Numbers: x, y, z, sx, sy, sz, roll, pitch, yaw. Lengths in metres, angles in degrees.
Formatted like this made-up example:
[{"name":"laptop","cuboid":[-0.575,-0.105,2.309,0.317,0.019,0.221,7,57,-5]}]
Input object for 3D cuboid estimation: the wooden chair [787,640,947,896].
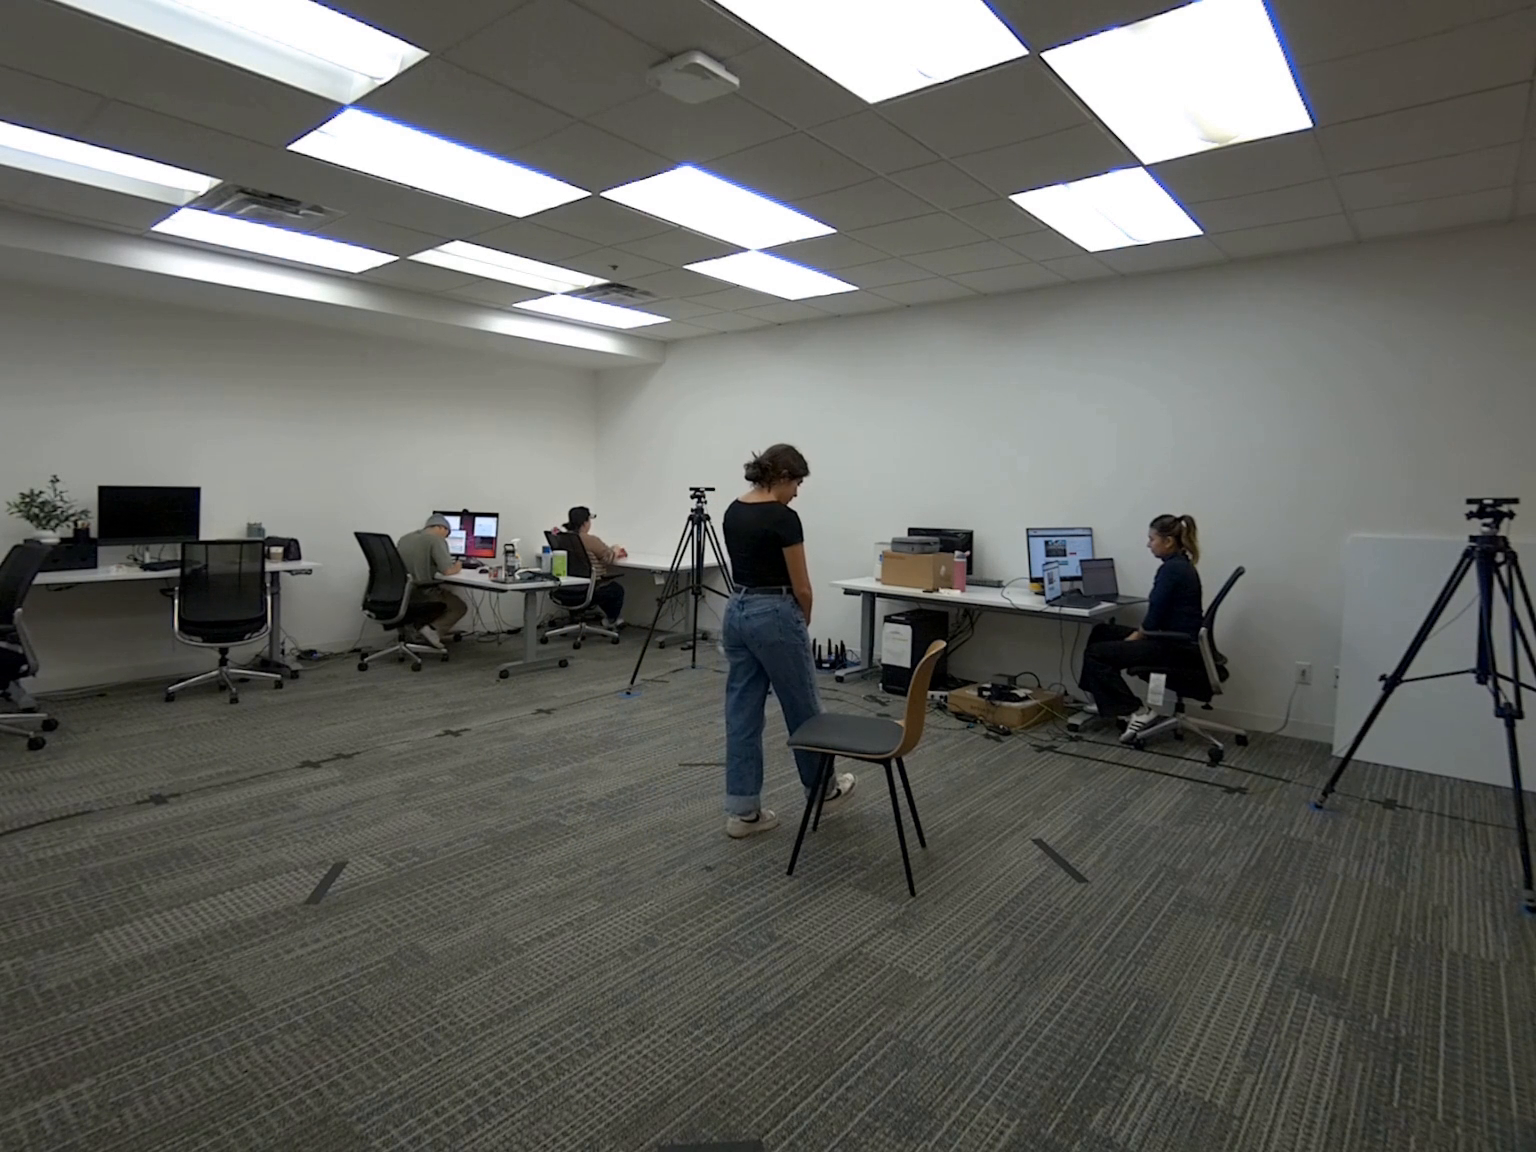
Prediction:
[{"name":"wooden chair","cuboid":[0.344,0.644,3.177,0.534,0.874,0.470,7,5,17]}]
